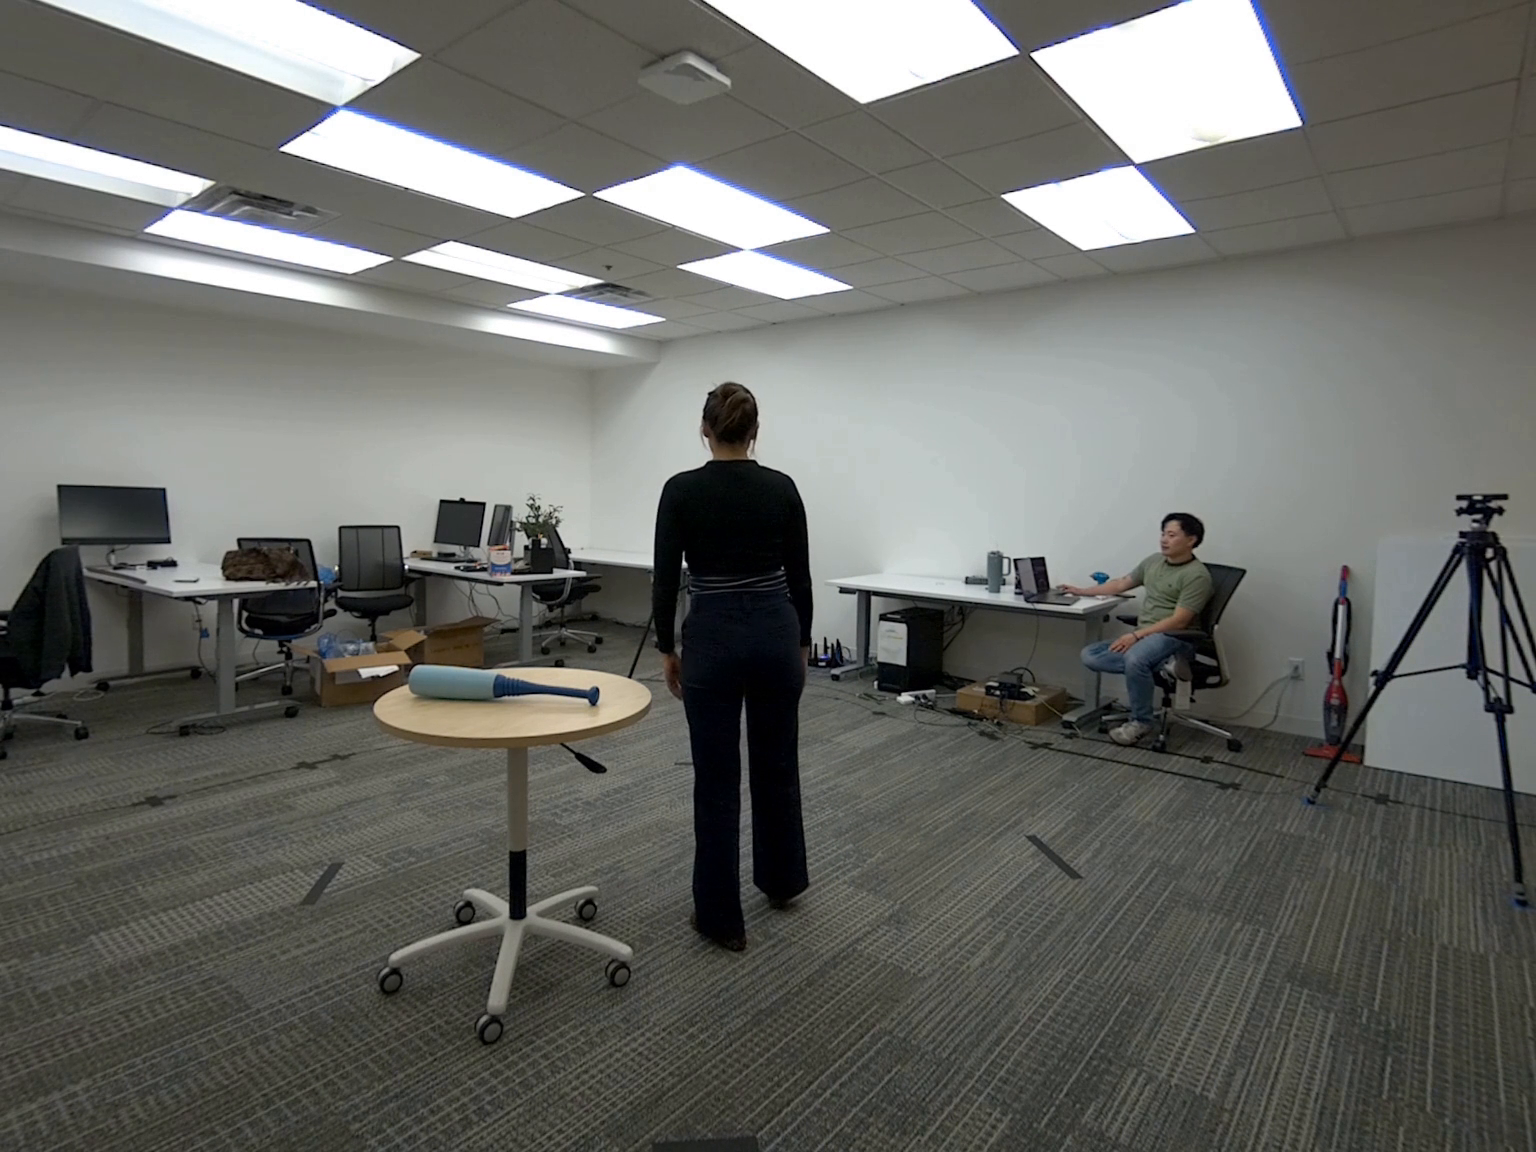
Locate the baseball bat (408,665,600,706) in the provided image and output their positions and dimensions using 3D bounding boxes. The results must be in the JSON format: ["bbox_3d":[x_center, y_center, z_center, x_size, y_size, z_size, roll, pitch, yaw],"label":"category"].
[{"bbox_3d":[-0.750,0.312,2.388,0.546,0.089,0.089,3,4,6],"label":"baseball bat"}]
